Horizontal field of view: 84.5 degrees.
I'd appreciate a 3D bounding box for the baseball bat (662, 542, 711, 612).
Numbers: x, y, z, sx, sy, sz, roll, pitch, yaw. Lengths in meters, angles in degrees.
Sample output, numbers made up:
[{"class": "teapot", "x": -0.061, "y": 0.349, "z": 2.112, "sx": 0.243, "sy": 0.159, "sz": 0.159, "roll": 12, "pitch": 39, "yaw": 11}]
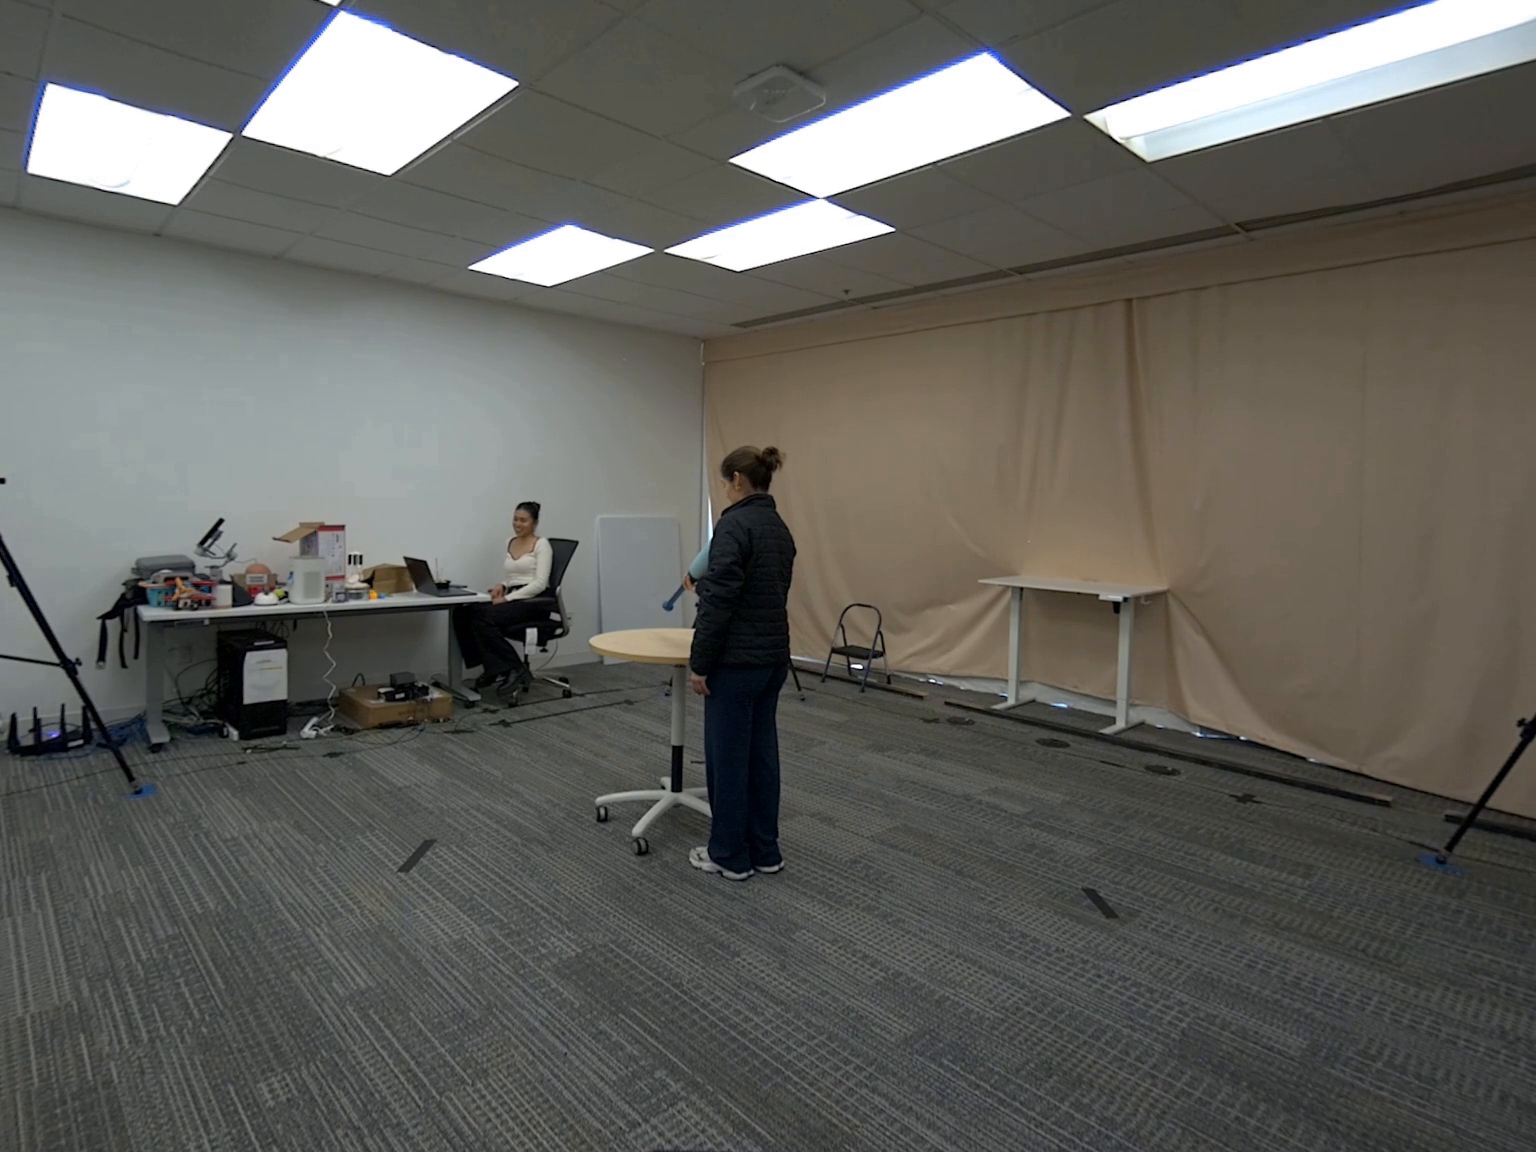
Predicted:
[{"class": "baseball bat", "x": -0.315, "y": 0.001, "z": 3.529, "sx": 0.087, "sy": 0.091, "sz": 0.542, "roll": -1, "pitch": -33, "yaw": -36}]
